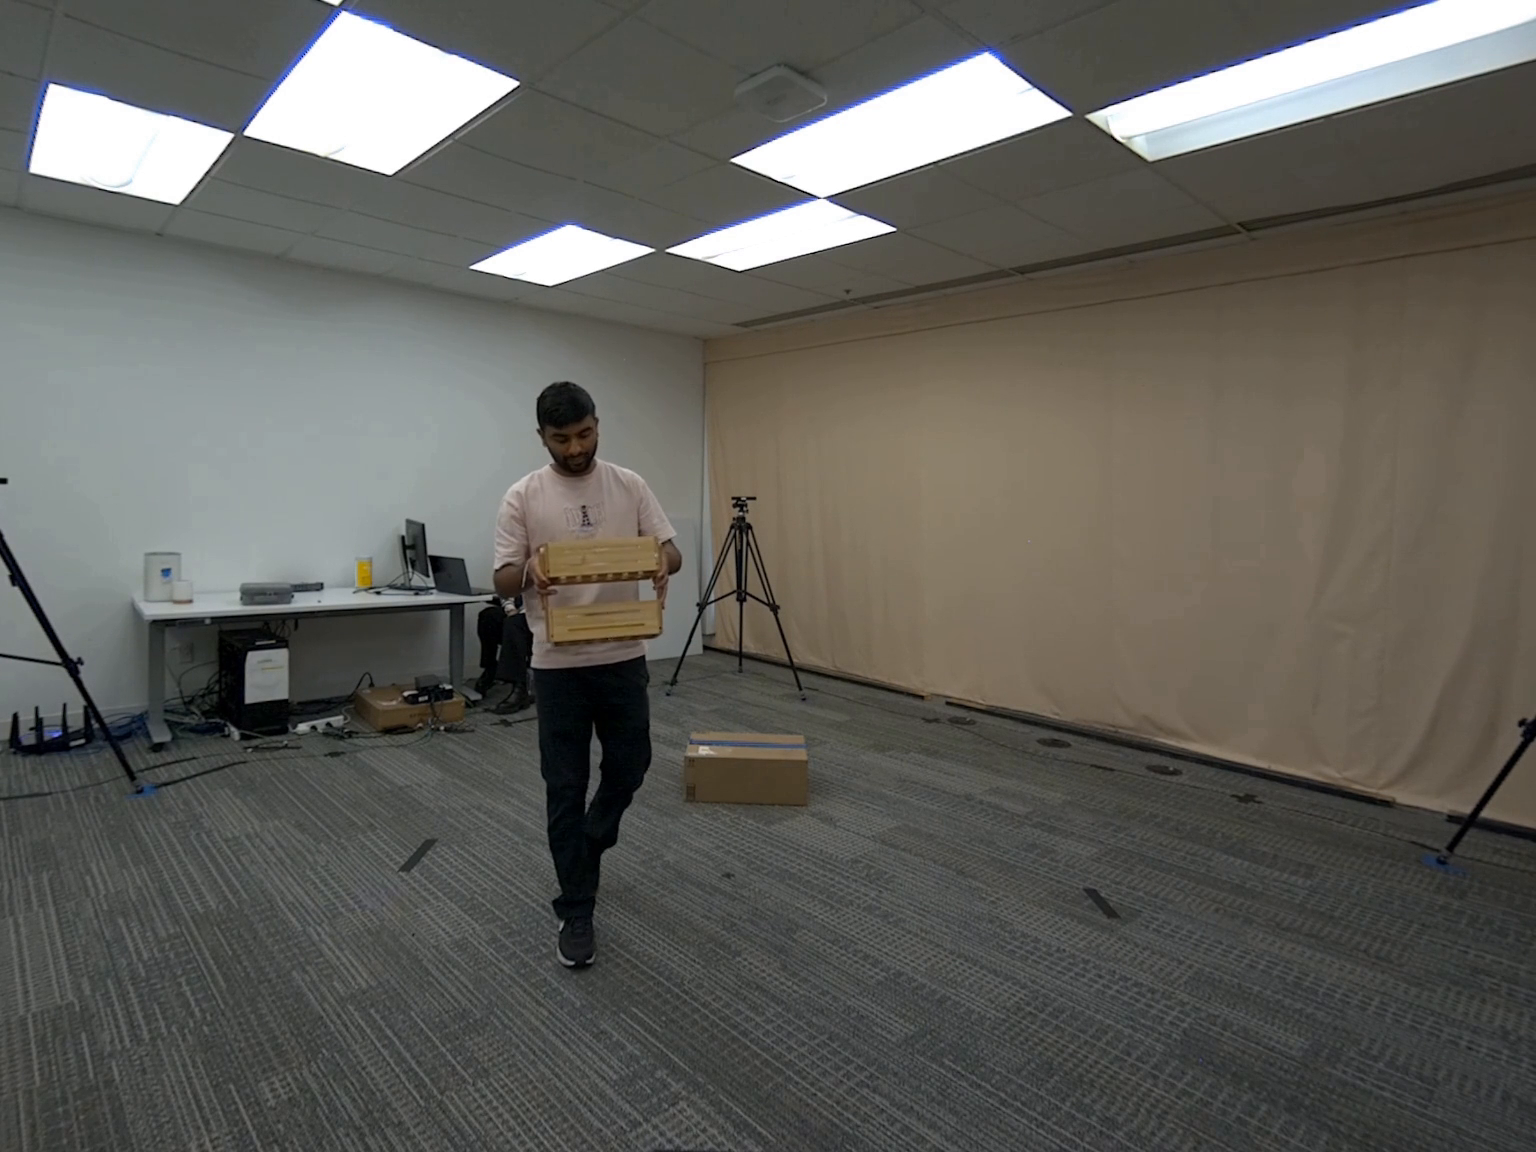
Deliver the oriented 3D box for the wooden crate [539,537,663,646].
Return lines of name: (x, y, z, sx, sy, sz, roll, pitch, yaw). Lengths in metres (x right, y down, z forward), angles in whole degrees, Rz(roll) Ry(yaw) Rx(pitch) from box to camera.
wooden crate: (-0.470, 0.046, 2.379, 0.321, 0.275, 0.303, -4, -7, -13)
